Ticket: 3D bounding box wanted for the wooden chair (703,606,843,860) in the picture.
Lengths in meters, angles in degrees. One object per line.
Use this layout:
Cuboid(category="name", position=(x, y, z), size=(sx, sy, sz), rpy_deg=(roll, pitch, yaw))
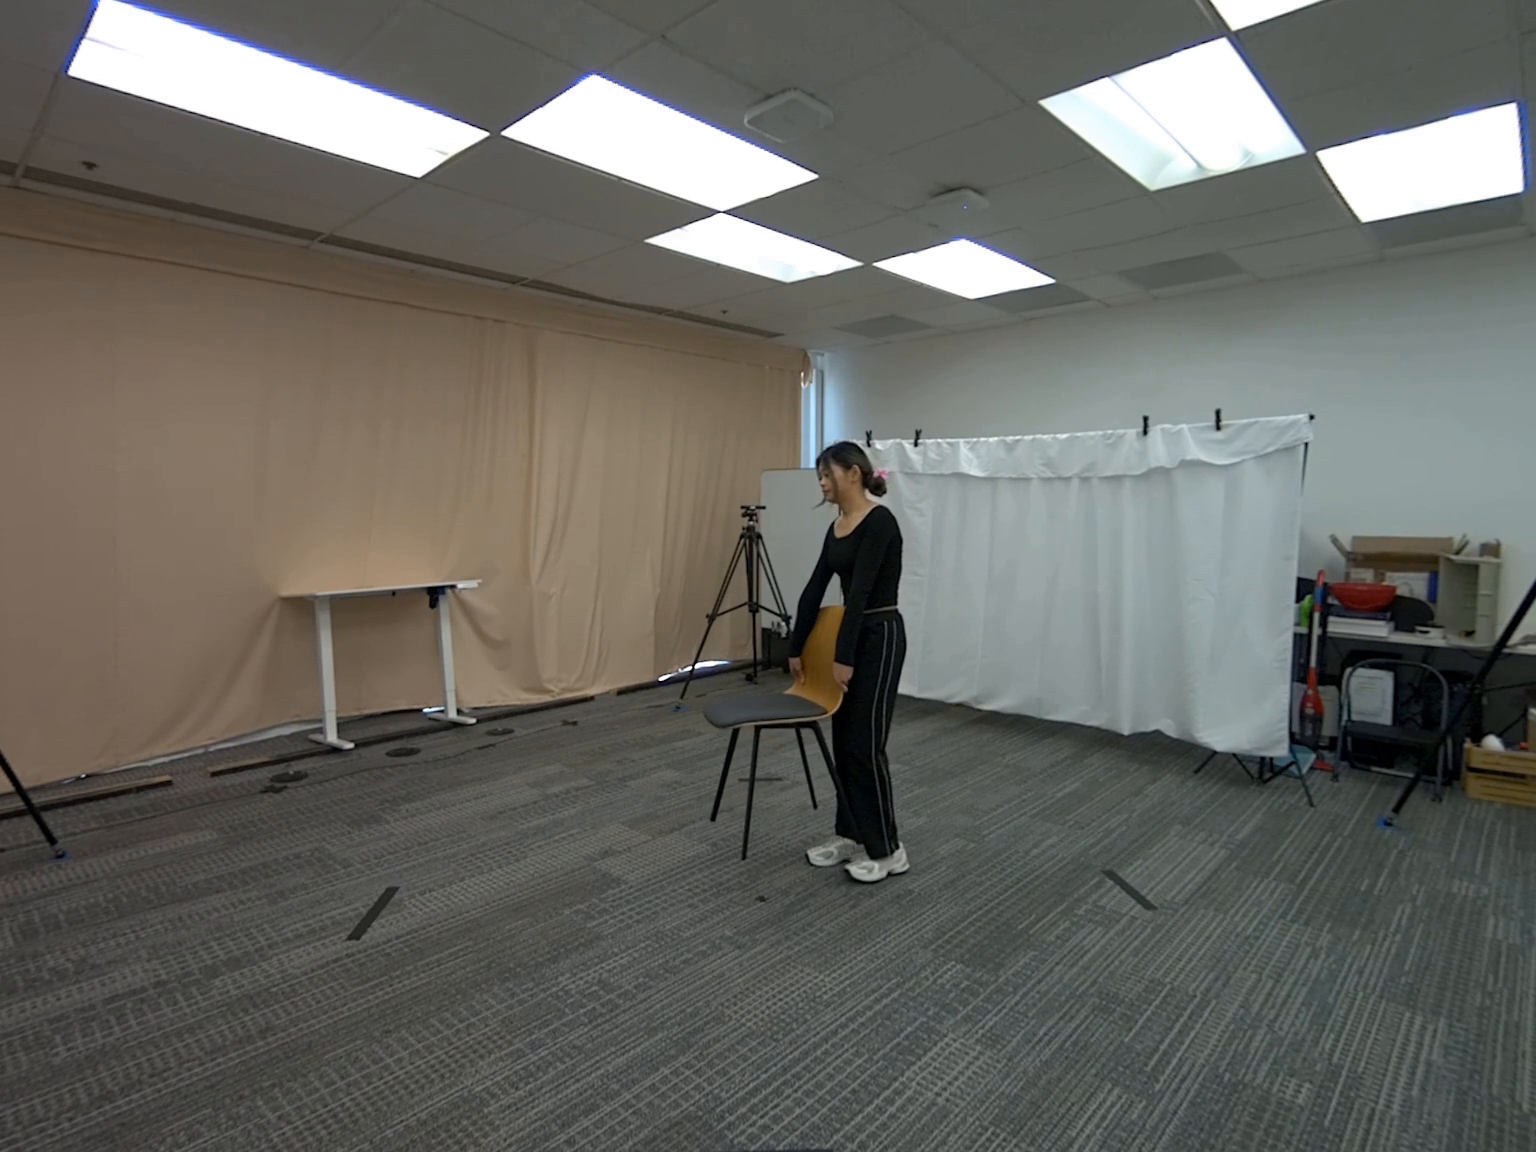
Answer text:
Cuboid(category="wooden chair", position=(0.034, 0.551, 3.181), size=(0.514, 0.877, 0.487), rpy_deg=(2, 1, -16))
